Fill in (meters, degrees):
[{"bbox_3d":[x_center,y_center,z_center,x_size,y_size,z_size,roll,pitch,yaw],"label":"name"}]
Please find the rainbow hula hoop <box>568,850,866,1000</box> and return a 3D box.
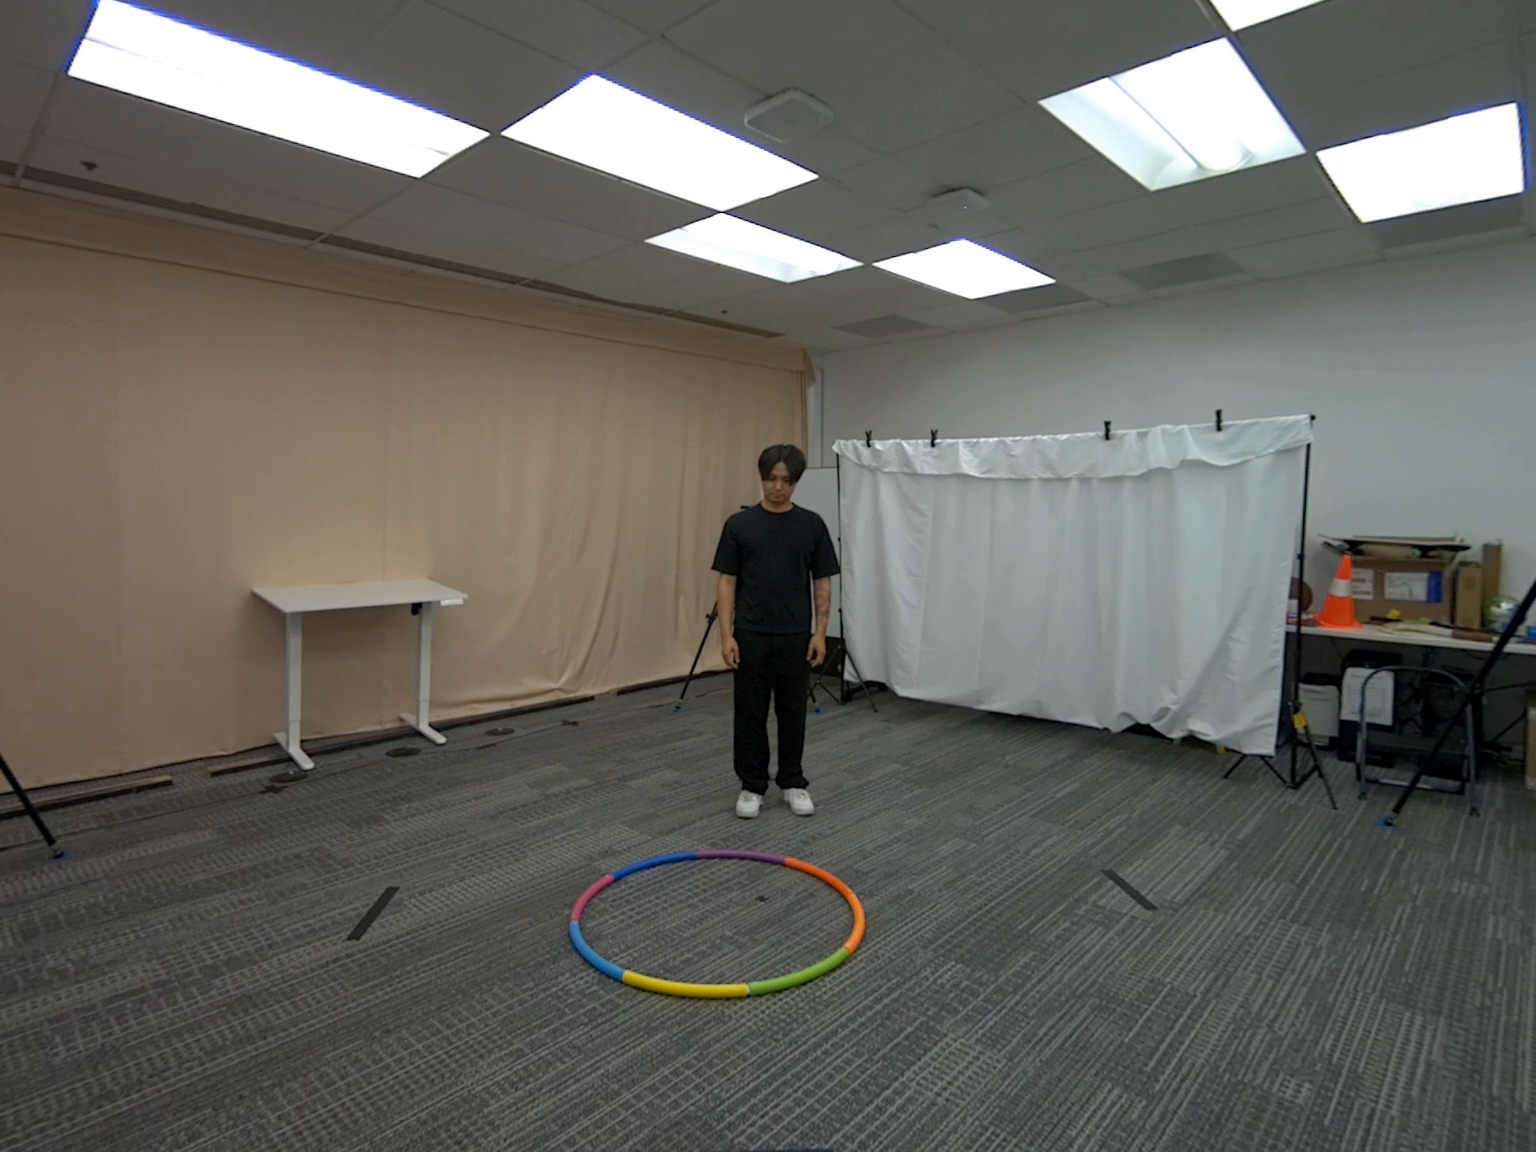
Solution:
[{"bbox_3d":[-0.171,1.124,2.858,0.978,0.035,0.982,-1,4,-2],"label":"rainbow hula hoop"}]
